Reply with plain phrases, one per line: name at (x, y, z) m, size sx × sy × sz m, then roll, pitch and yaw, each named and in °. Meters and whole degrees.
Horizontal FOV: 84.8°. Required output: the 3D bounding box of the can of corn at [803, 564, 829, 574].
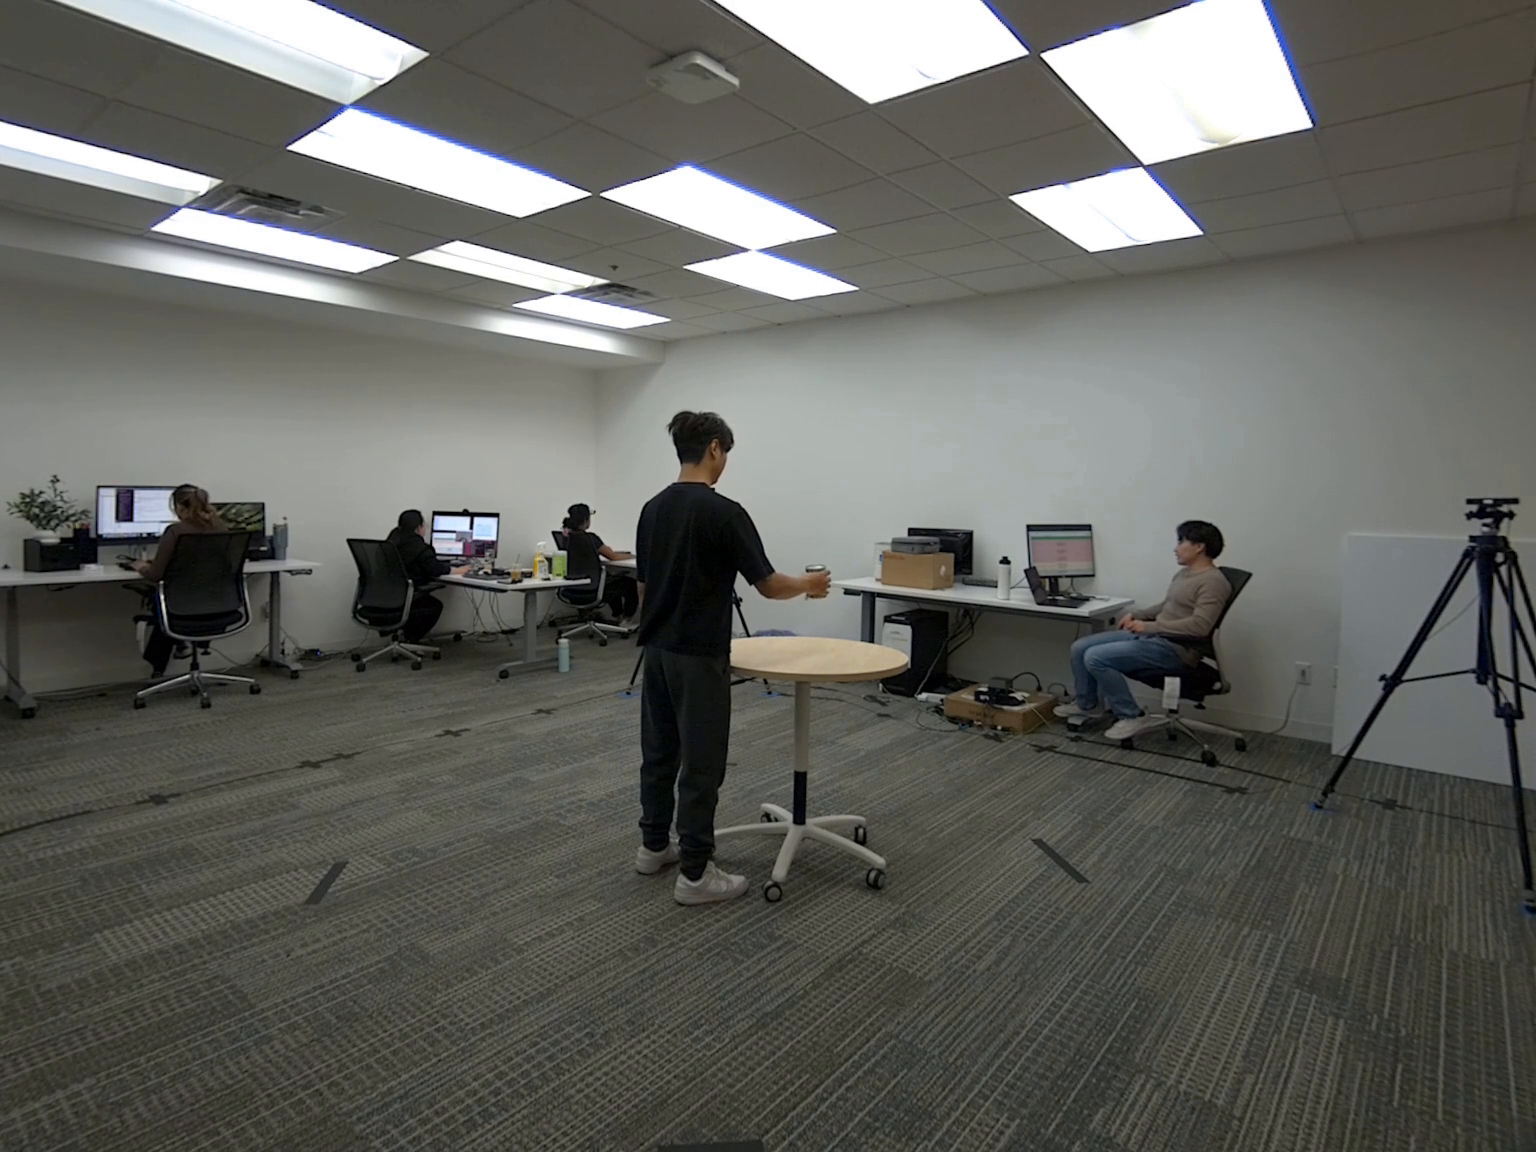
can of corn at (0.166, 0.023, 3.133) m, size 0.074 × 0.110 × 0.075 m, roll 0°, pitch 10°, yaw -2°
